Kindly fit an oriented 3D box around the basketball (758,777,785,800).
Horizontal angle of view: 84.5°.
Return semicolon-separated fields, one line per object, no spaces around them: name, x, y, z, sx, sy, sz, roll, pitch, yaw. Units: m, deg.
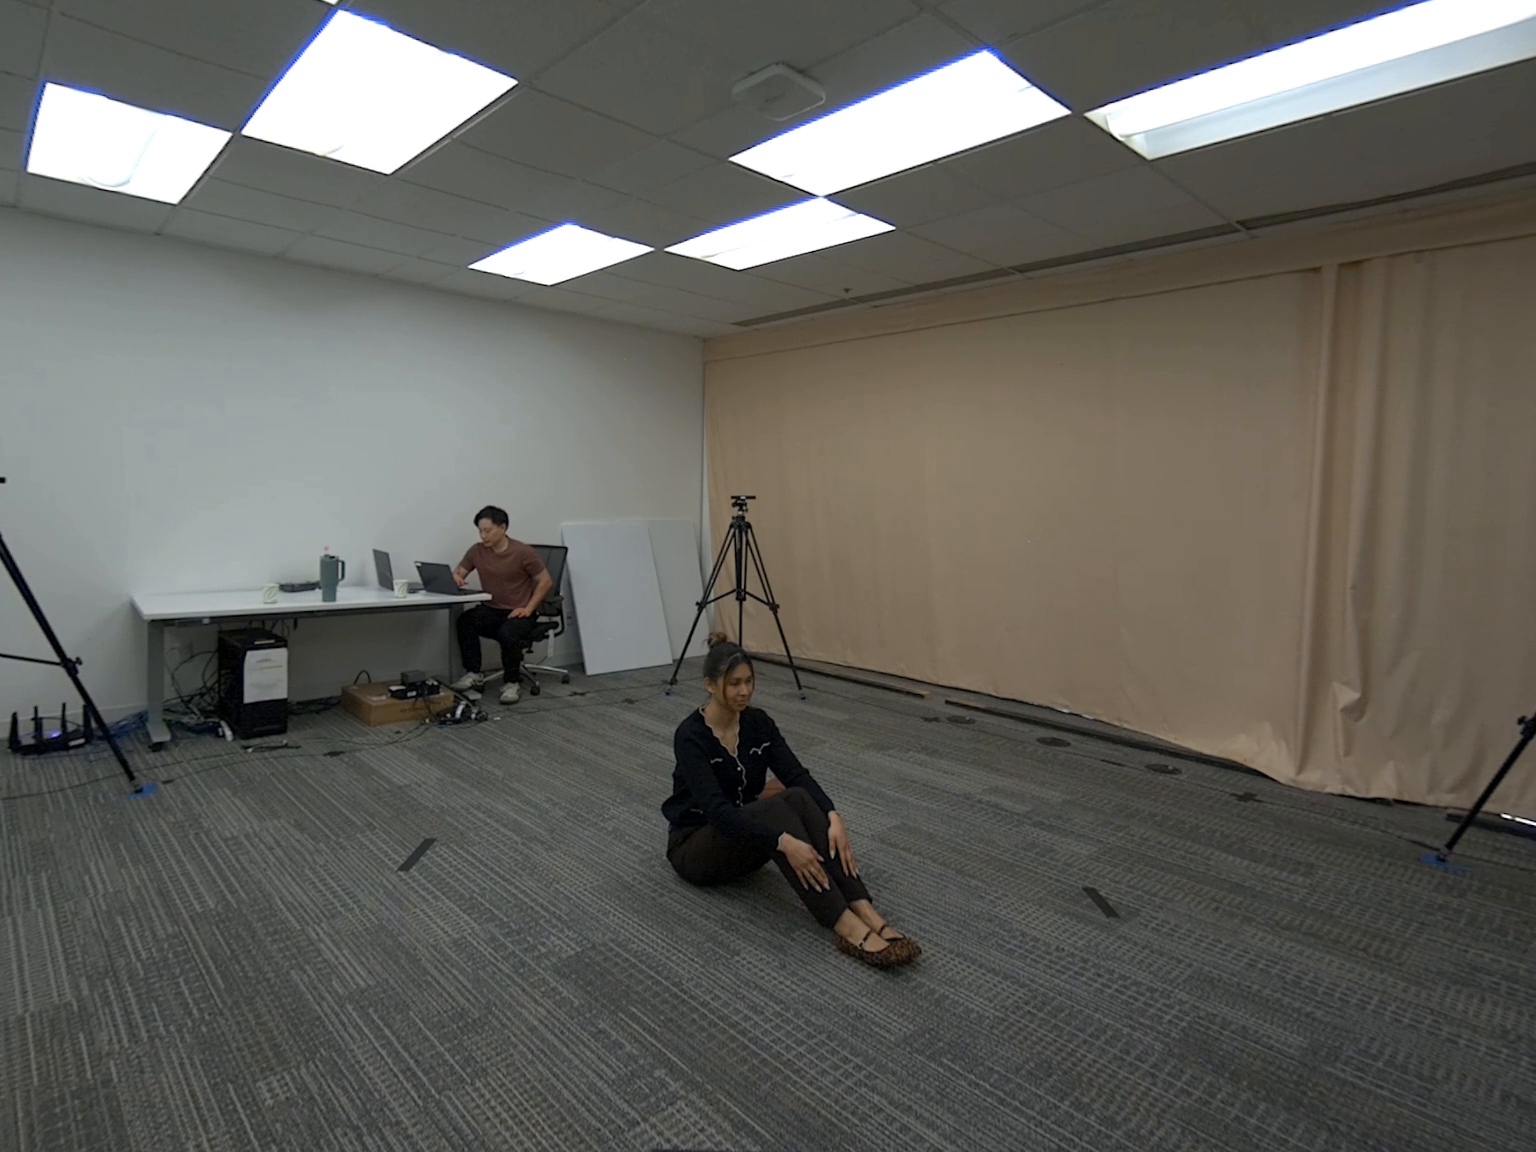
basketball;0.057;0.958;3.486;0.236;0.235;0.237;1;4;-1
